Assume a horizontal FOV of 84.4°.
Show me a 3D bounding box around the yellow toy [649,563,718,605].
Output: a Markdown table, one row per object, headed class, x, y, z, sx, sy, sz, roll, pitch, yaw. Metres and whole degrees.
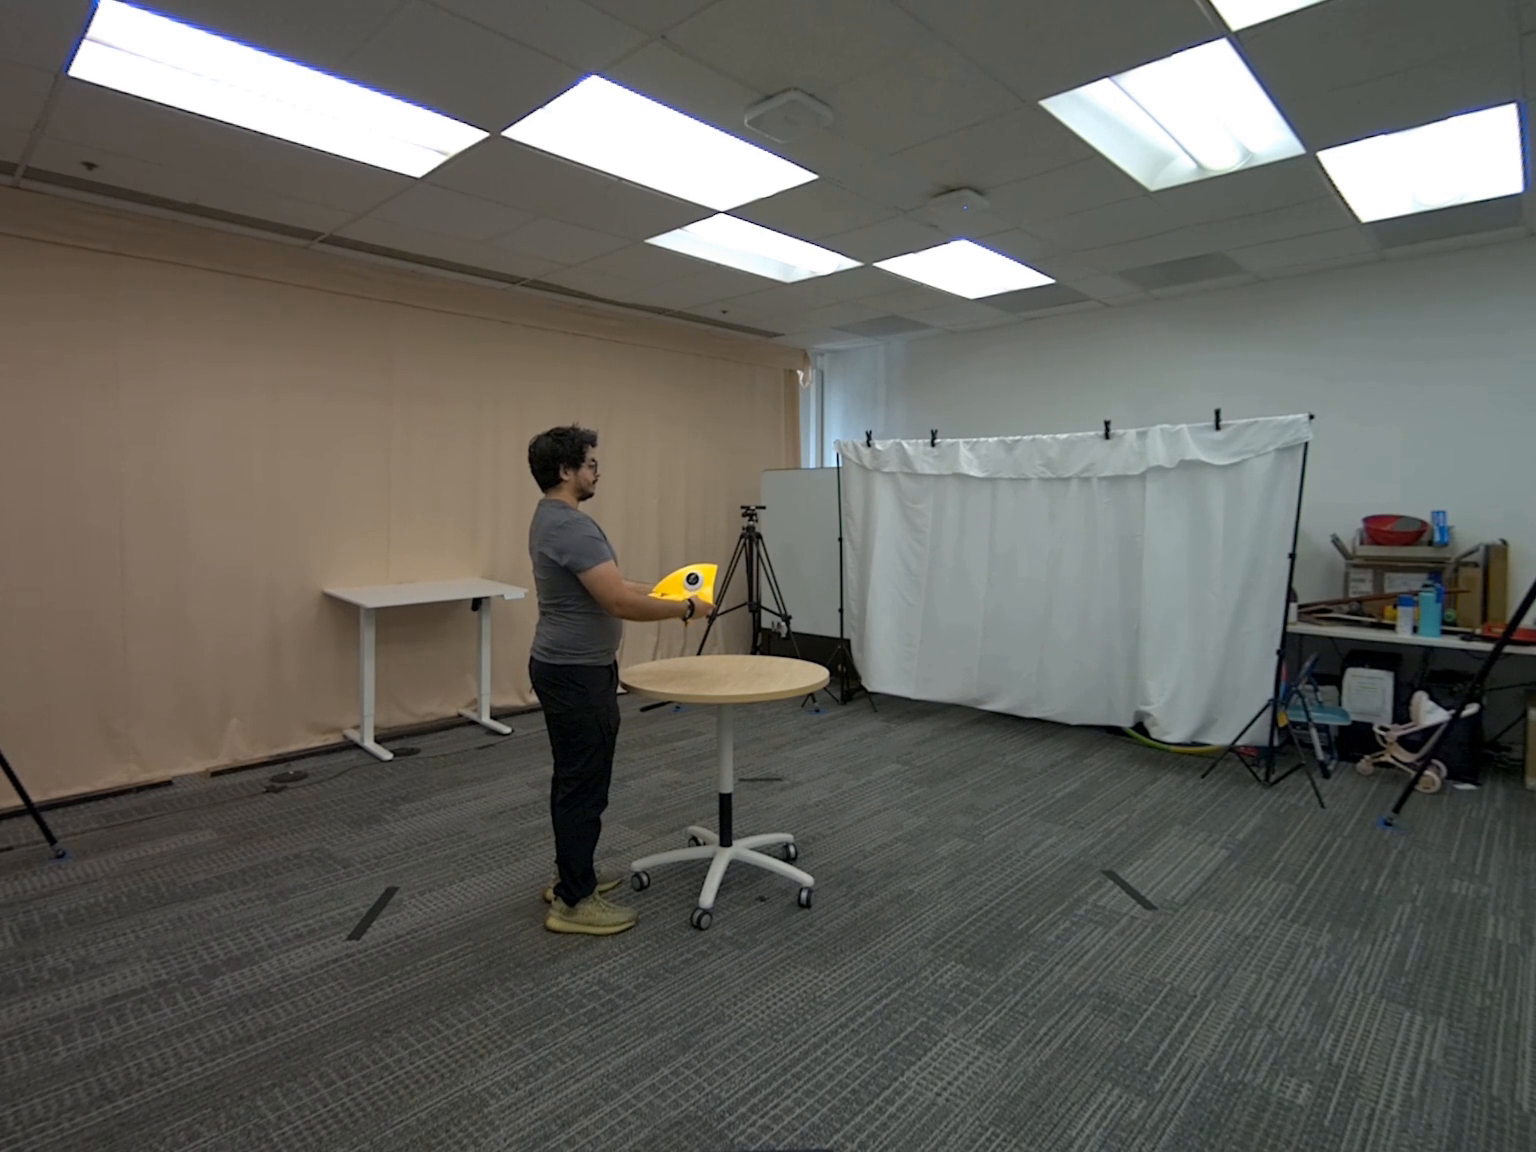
| class | x | y | z | sx | sy | sz | roll | pitch | yaw |
| --- | --- | --- | --- | --- | --- | --- | --- | --- | --- |
| yellow toy | -0.283 | 0.028 | 2.983 | 0.189 | 0.230 | 0.209 | 34 | -10 | -19 |
